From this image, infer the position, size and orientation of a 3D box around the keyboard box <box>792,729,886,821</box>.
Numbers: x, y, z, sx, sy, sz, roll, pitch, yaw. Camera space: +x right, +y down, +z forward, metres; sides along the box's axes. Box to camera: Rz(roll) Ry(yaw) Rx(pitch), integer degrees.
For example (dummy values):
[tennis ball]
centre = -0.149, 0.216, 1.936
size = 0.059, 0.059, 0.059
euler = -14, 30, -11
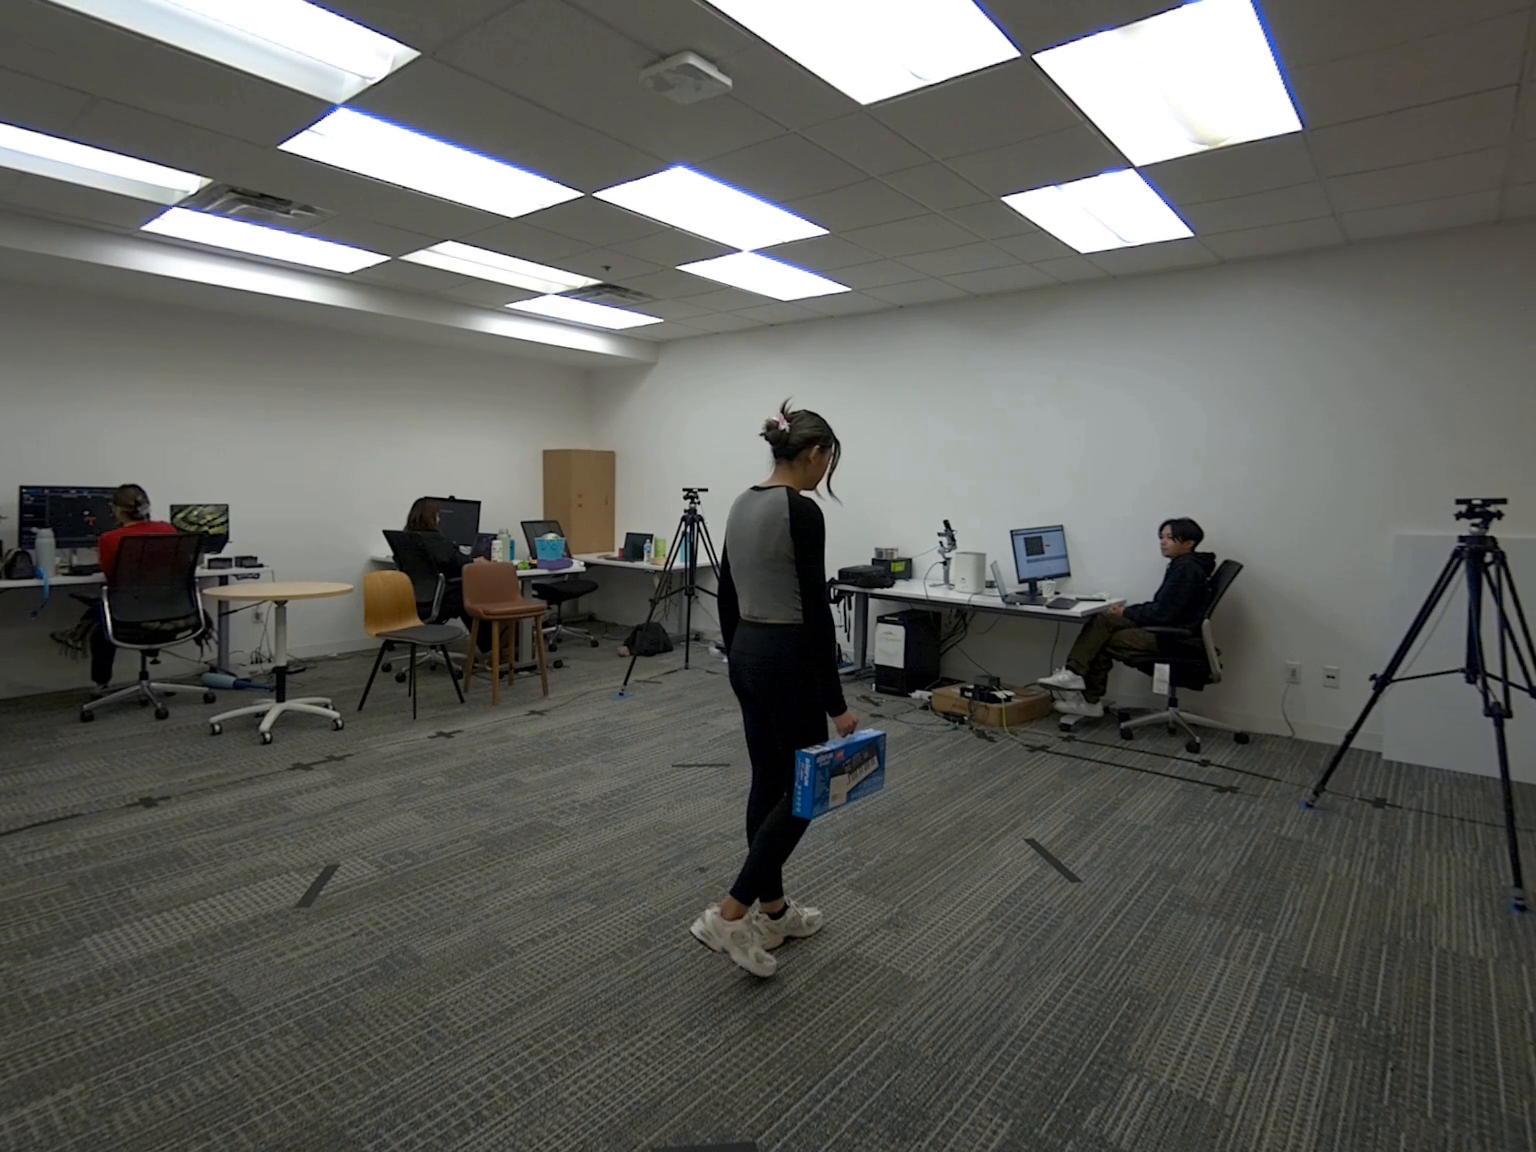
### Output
[keyboard box]
centre = 0.205, 0.556, 2.425
size = 0.061, 0.176, 0.423
euler = 2, 0, 34
